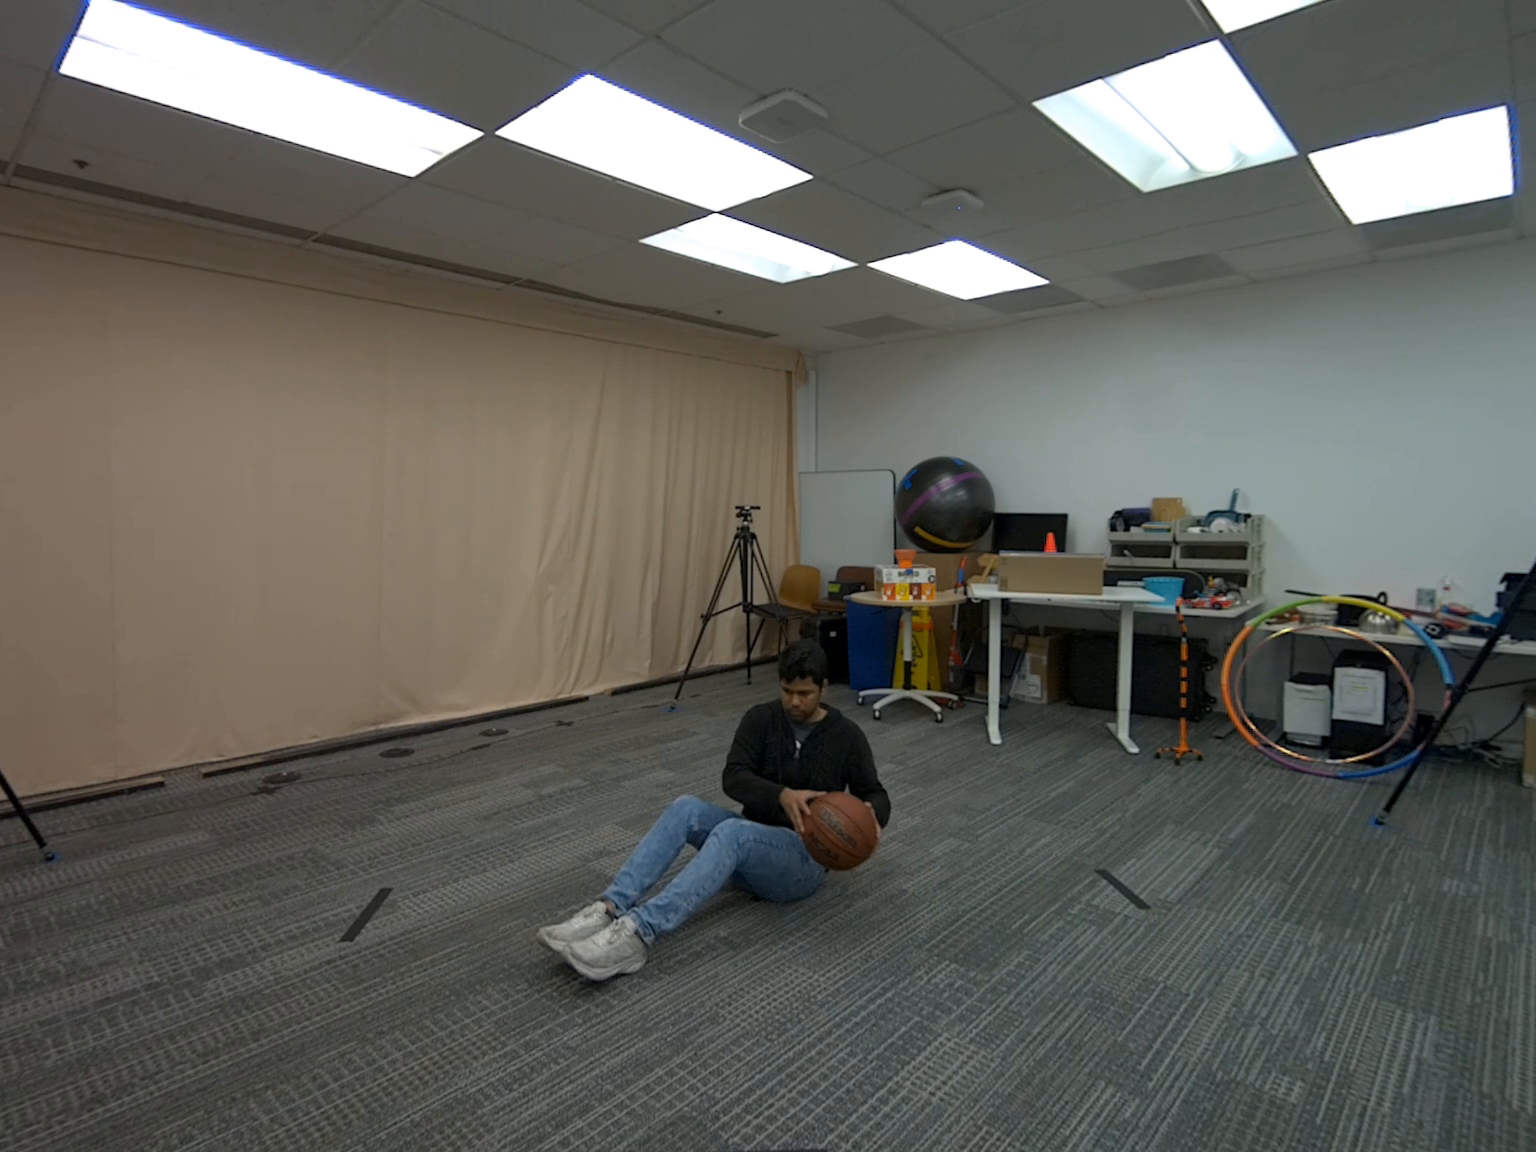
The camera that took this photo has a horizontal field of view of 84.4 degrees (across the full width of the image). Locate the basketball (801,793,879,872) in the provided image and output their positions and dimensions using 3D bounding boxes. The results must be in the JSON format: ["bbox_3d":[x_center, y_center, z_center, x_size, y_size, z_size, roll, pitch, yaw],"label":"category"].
[{"bbox_3d":[0.215,0.811,2.703,0.236,0.235,0.237,0,4,-2],"label":"basketball"}]
